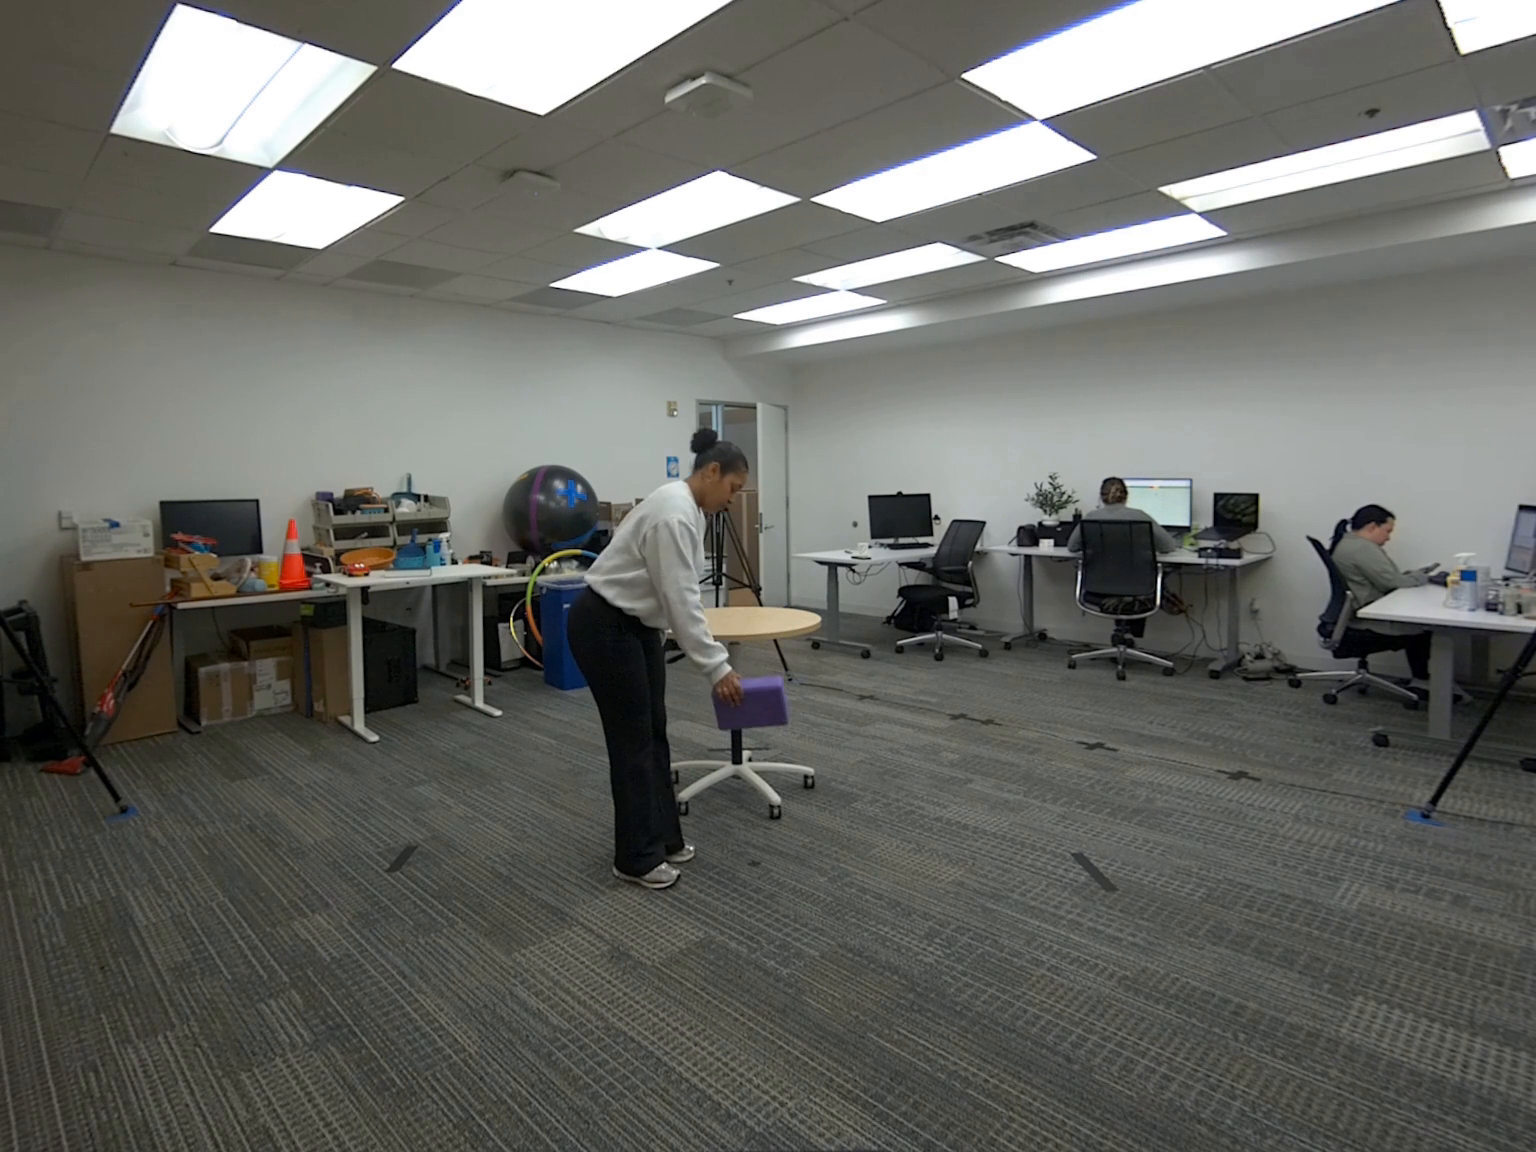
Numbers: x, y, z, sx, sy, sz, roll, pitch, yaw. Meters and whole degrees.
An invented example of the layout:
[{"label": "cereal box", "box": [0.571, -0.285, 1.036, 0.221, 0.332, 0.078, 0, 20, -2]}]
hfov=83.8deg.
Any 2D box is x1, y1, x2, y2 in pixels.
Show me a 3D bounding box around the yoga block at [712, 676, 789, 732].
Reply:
[{"label": "yoga block", "box": [-0.060, 0.406, 2.755, 0.231, 0.146, 0.077, -5, 19, 11]}]
